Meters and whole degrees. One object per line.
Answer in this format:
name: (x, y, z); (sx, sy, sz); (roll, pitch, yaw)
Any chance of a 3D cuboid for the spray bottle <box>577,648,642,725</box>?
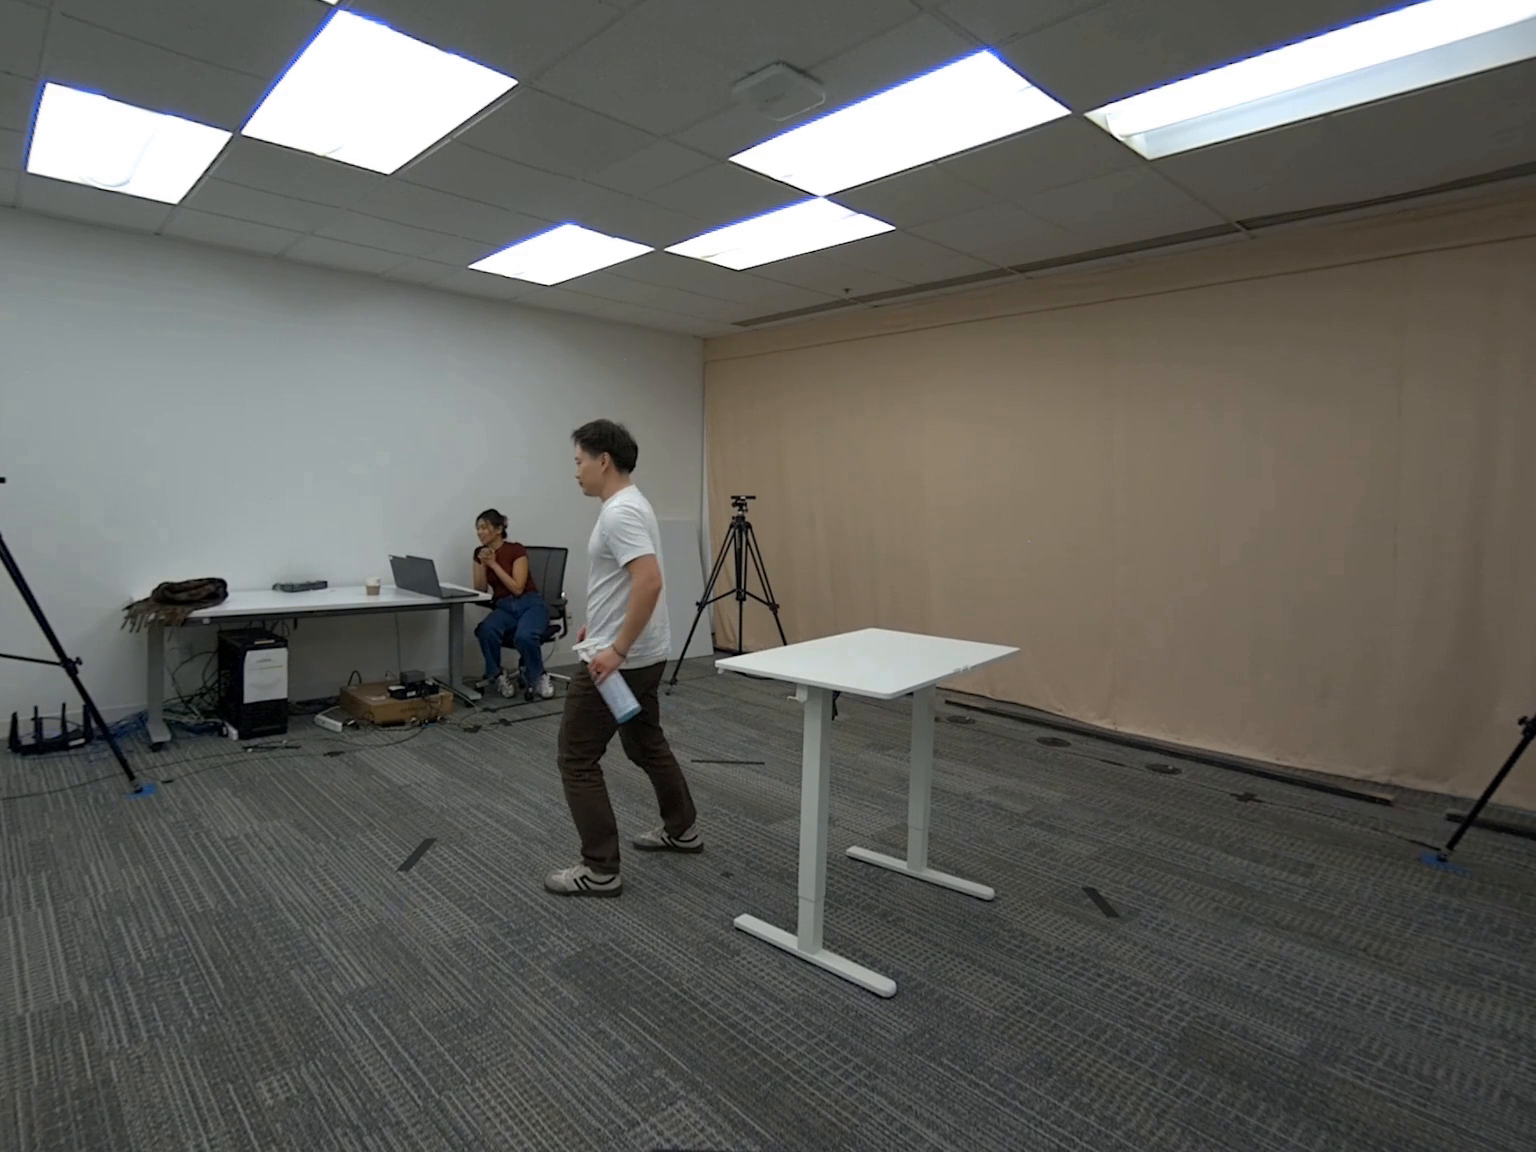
spray bottle: (-0.539, 0.339, 2.795); (0.090, 0.302, 0.086); (-34, -15, -11)
